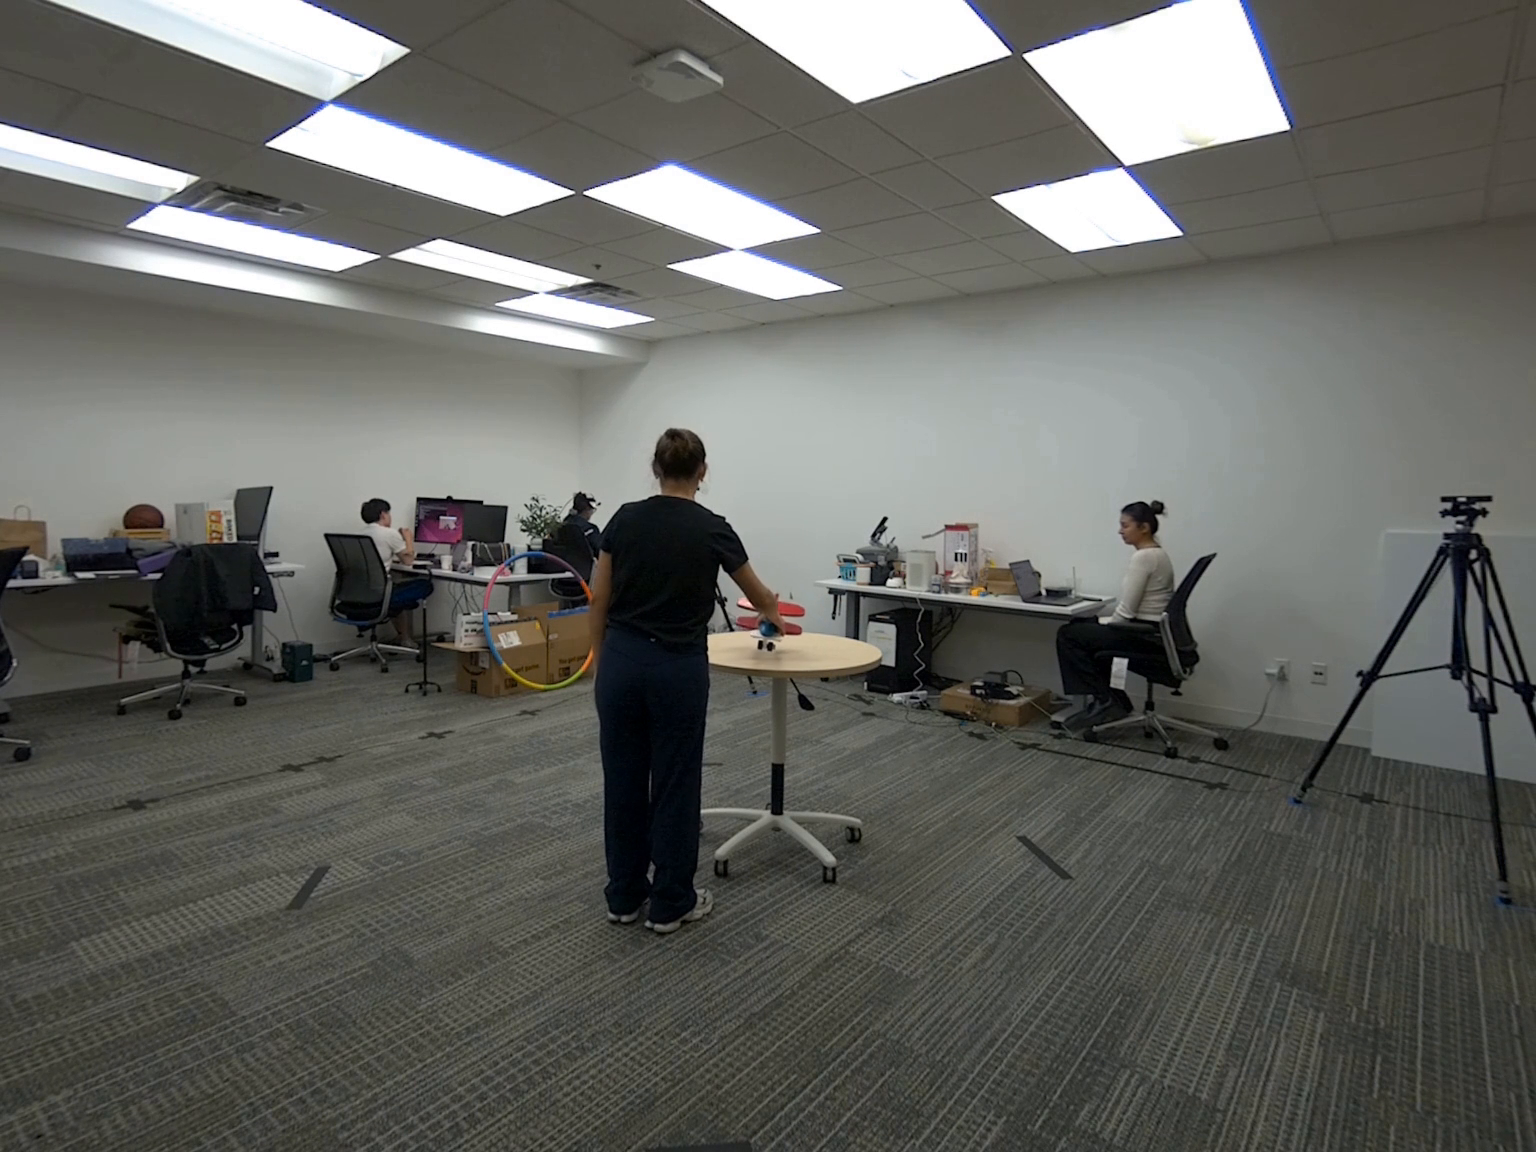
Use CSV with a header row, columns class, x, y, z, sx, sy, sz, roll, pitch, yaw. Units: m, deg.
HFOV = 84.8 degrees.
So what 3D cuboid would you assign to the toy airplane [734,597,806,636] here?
class,x,y,z,sx,sy,sz,roll,pitch,yaw
toy airplane,0.040,0.175,3.143,0.245,0.155,0.267,3,9,-26
